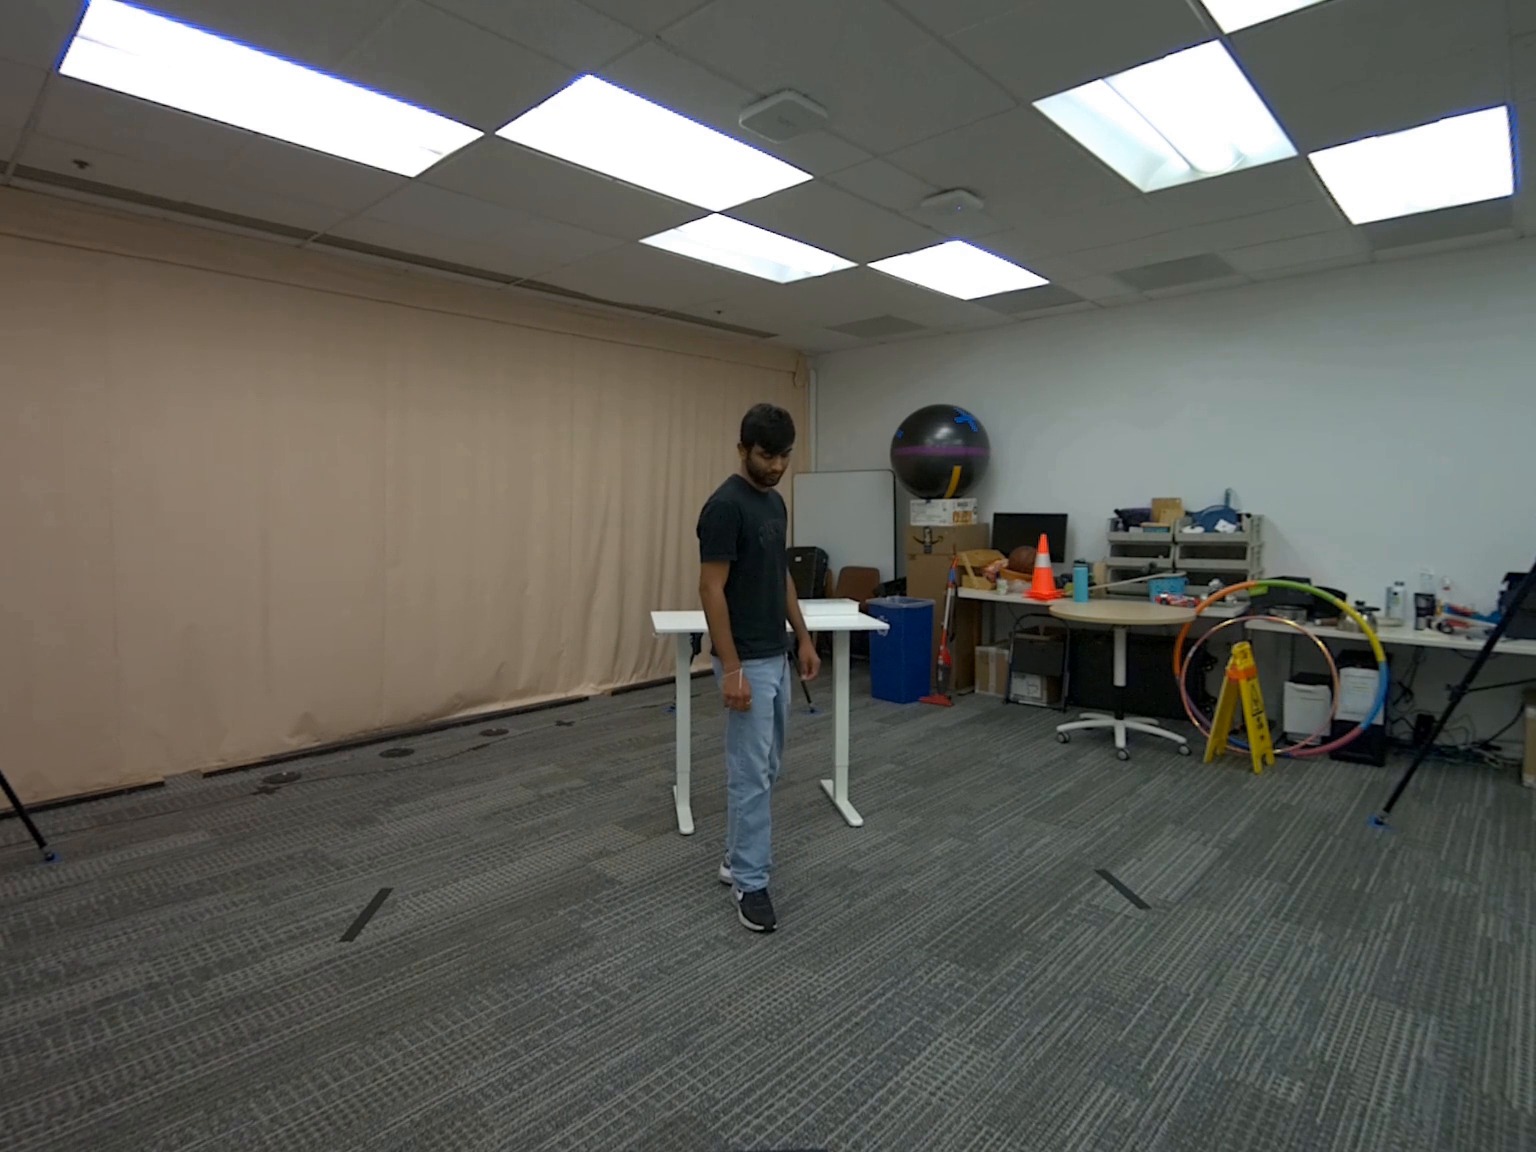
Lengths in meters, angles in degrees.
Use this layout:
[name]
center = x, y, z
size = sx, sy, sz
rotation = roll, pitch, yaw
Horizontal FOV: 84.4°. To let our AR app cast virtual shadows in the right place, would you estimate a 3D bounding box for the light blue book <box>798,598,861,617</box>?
[light blue book]
center = 0.282, 0.146, 4.035
size = 0.258, 0.059, 0.194
rotation = -1, 3, -12
